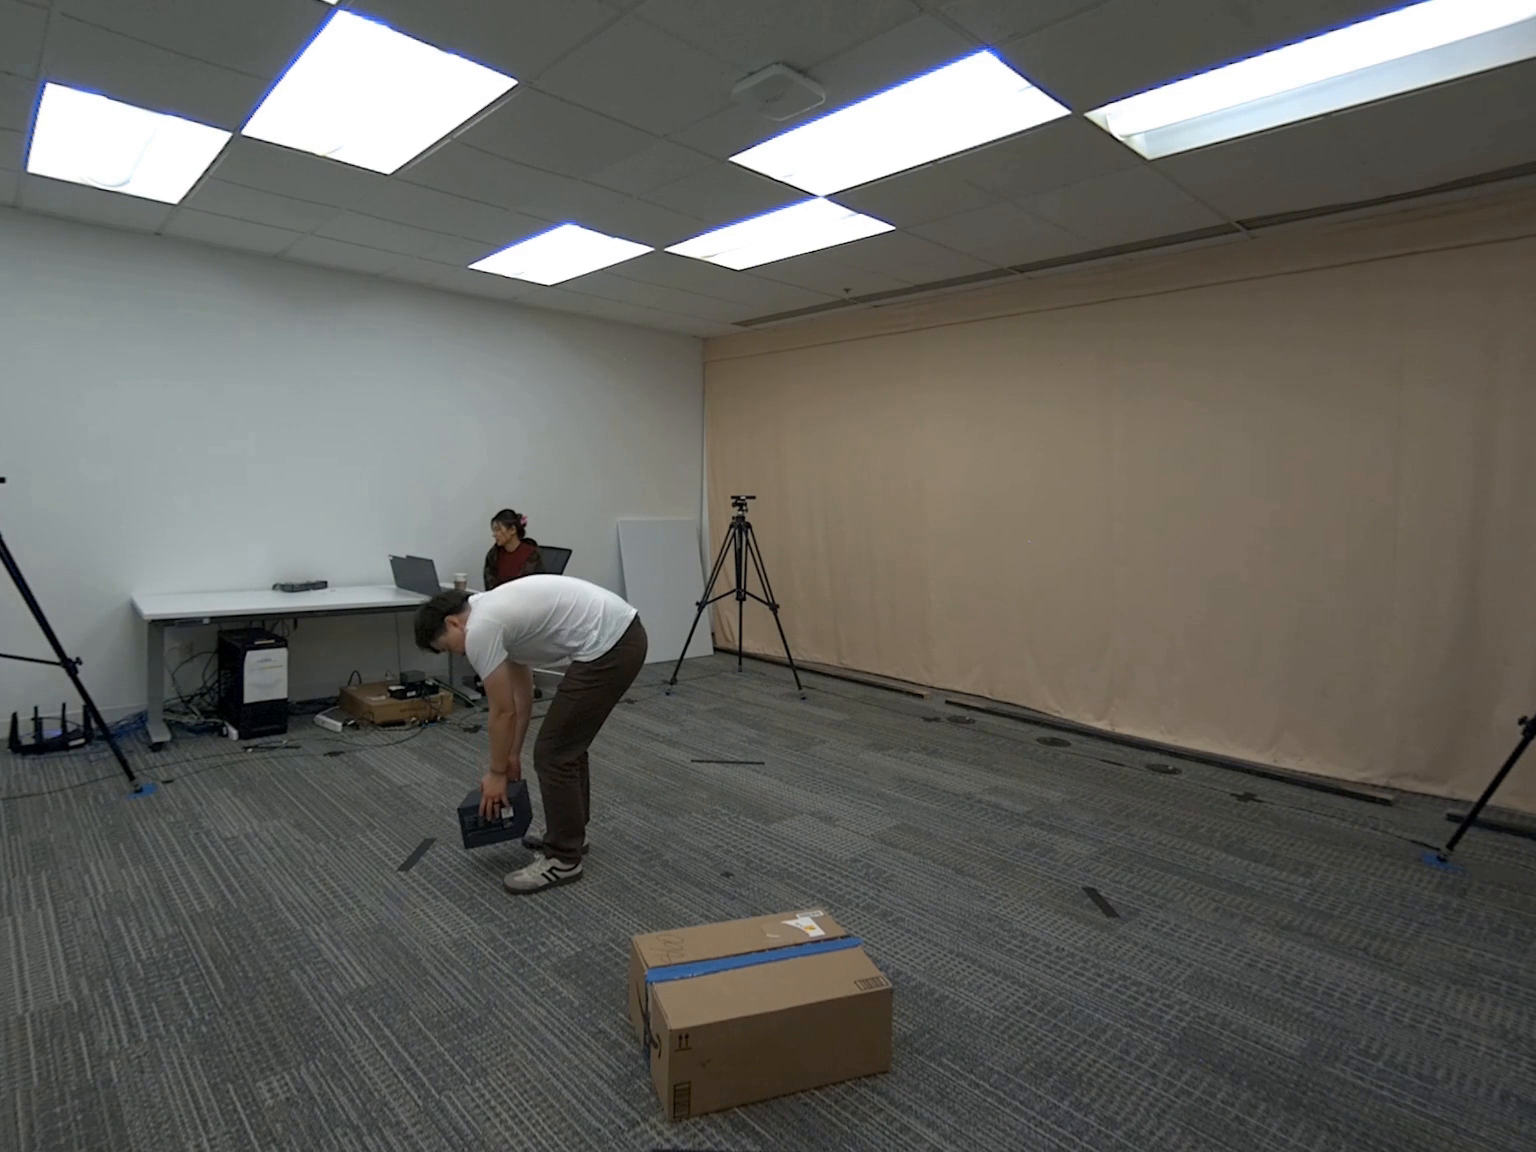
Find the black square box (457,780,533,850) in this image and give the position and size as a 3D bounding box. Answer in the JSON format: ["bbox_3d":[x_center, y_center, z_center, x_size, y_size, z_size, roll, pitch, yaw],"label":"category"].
[{"bbox_3d":[-1.027,0.874,3.142,0.216,0.155,0.229,-11,4,-5],"label":"black square box"}]
